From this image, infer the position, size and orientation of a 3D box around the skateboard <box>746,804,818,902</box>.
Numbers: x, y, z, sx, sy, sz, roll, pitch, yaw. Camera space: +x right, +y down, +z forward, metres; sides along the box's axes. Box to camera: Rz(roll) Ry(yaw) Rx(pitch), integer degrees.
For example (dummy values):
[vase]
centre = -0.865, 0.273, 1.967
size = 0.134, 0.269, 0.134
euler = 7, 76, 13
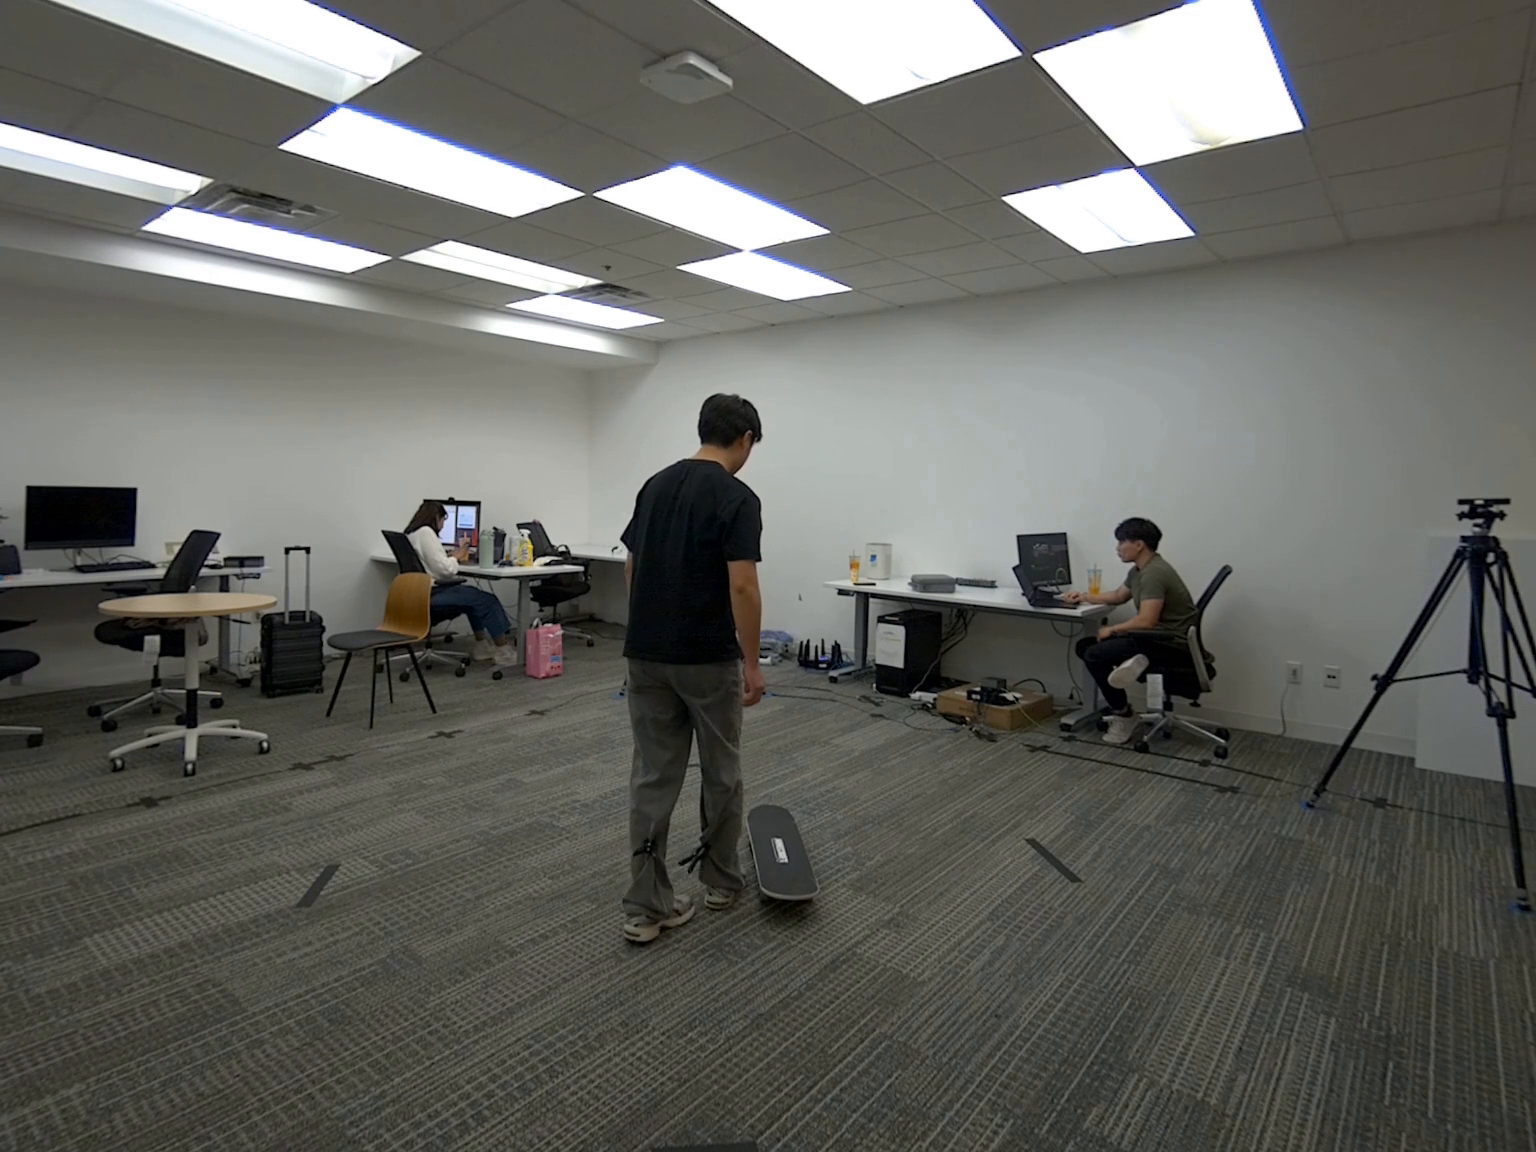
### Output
[skateboard]
centre = 0.038, 1.019, 3.079
size = 0.192, 0.110, 0.793
euler = 1, 6, -6
